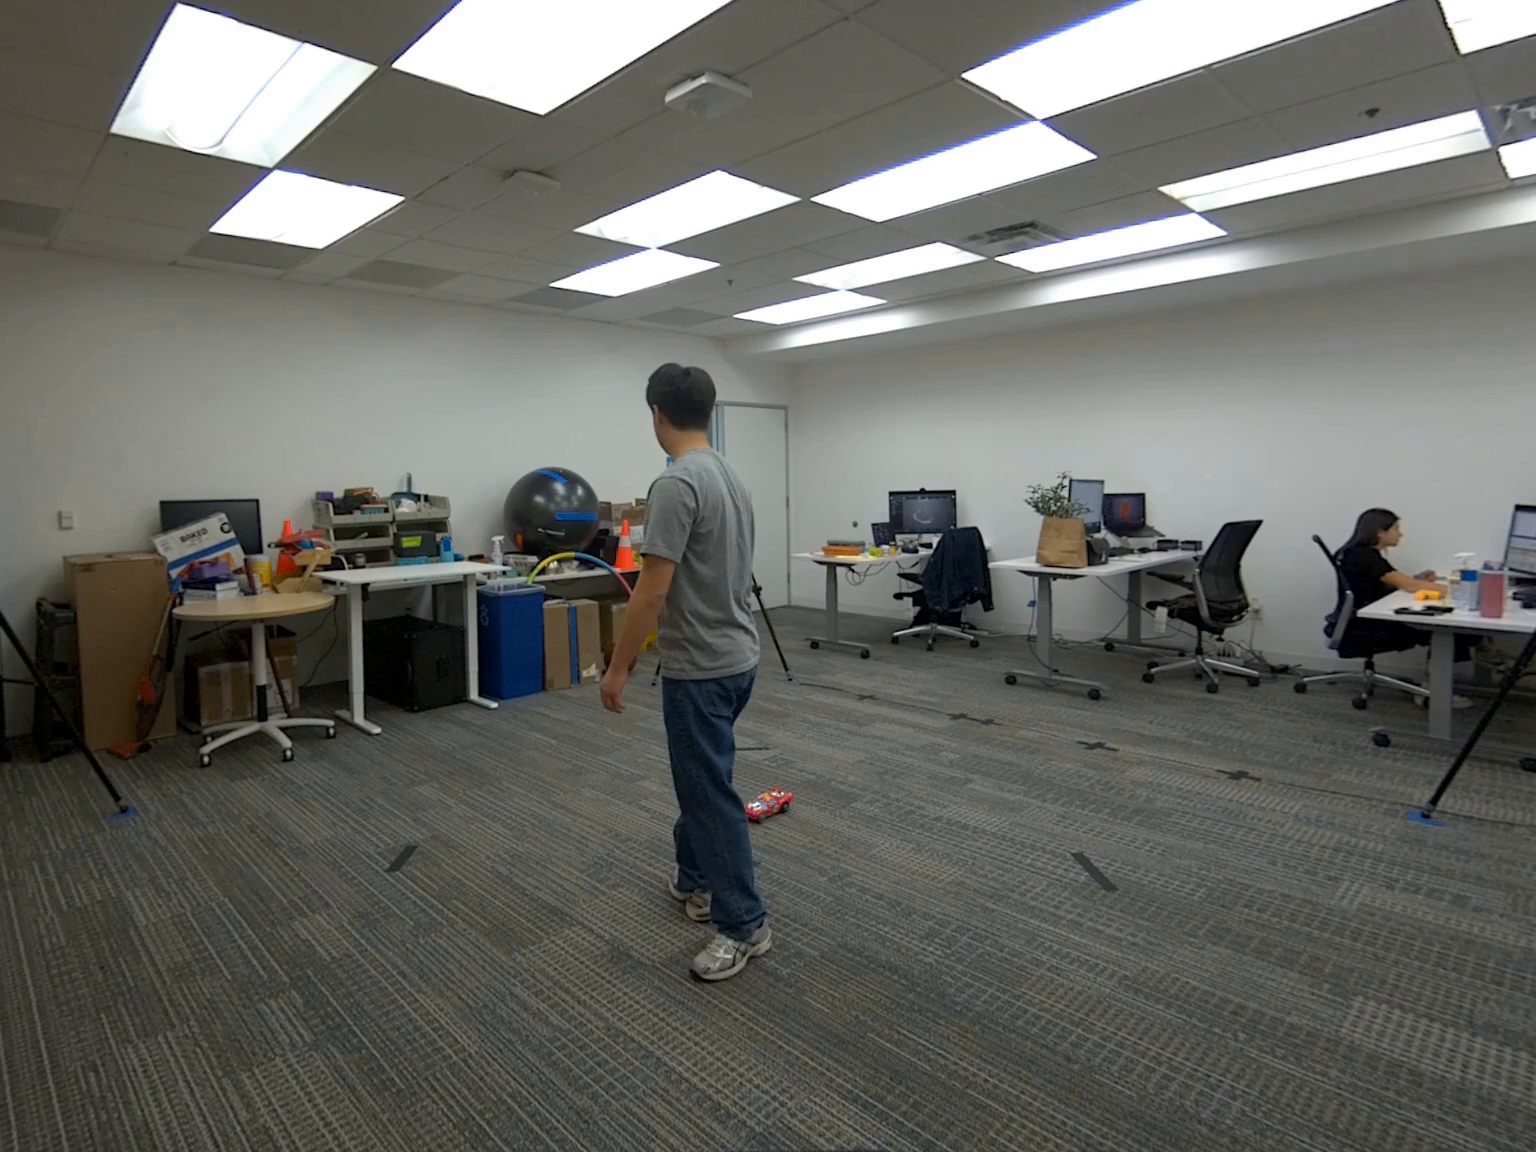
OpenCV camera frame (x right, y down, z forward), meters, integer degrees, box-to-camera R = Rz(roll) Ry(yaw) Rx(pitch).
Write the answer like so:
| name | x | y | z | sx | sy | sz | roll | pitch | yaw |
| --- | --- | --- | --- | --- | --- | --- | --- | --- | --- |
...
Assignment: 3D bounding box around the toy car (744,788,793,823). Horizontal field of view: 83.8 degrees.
| name | x | y | z | sx | sy | sz | roll | pitch | yaw |
| --- | --- | --- | --- | --- | --- | --- | --- | --- | --- |
| toy car | 0.003 | 0.959 | 3.573 | 0.134 | 0.082 | 0.250 | 5 | 20 | 44 |
